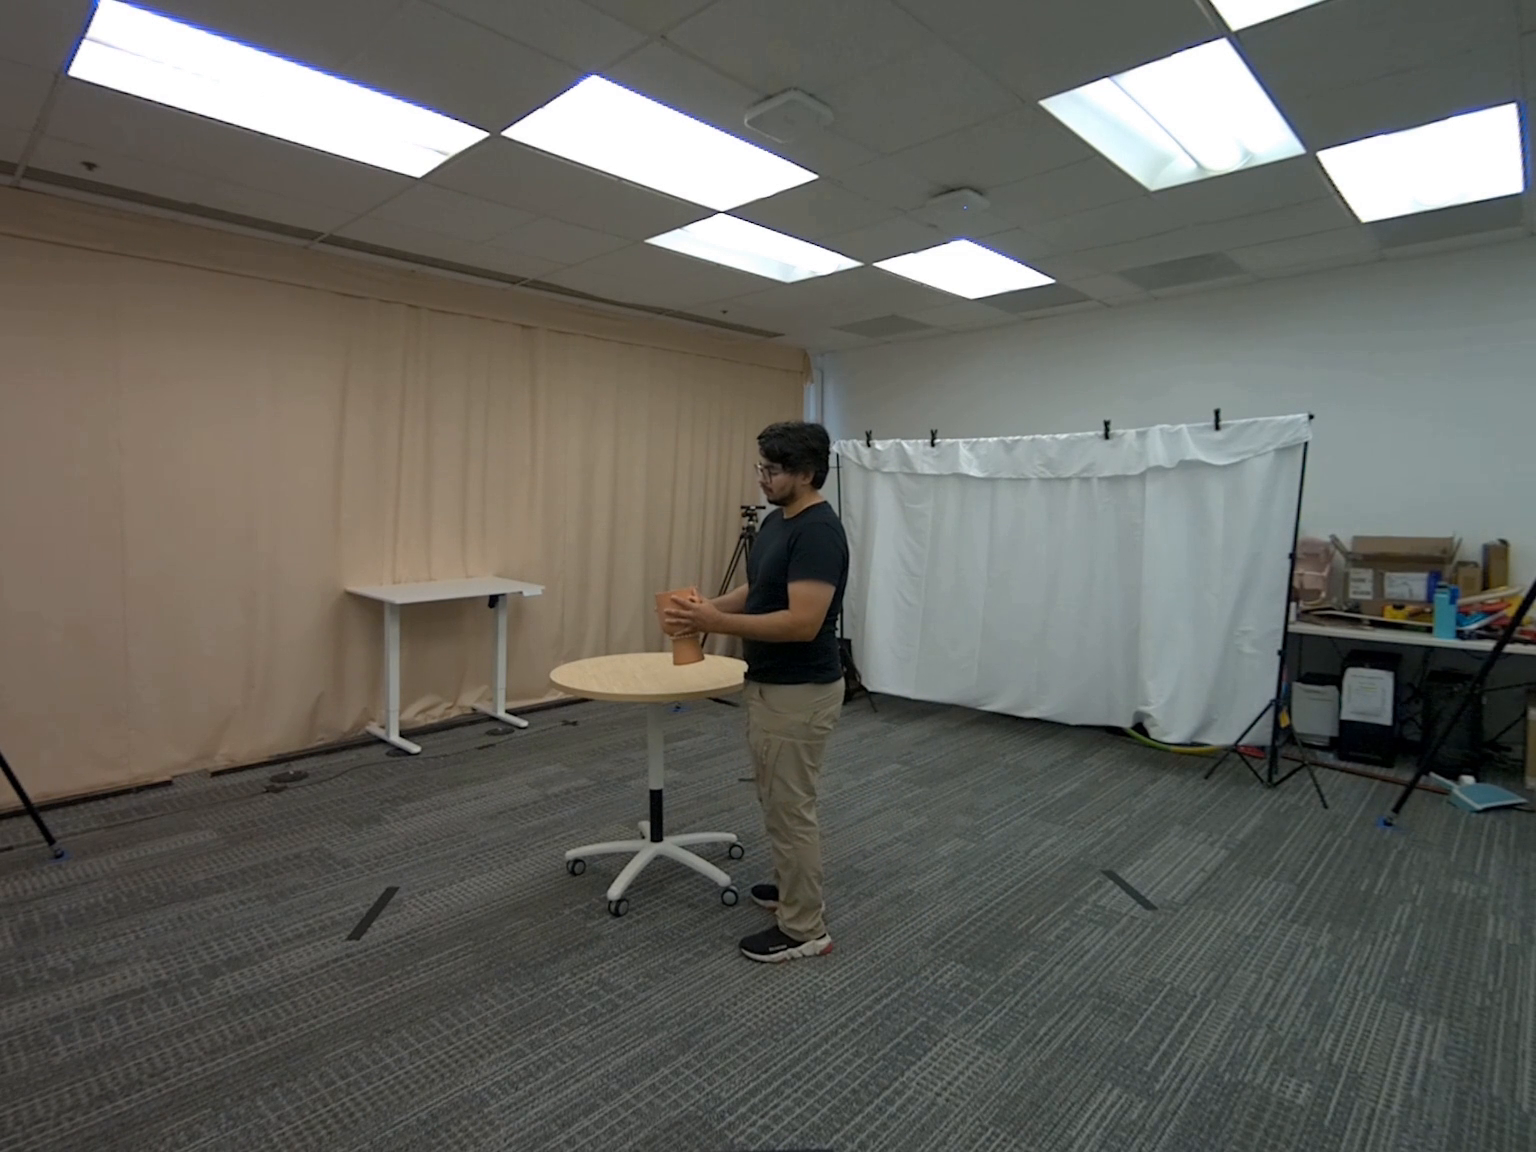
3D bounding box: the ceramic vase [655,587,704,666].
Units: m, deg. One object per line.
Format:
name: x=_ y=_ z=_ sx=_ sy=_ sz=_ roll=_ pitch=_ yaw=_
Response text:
ceramic vase: x=-0.250 y=0.152 z=2.526 sx=0.134 sy=0.220 sz=0.159 roll=-10 pitch=-2 yaw=-7
